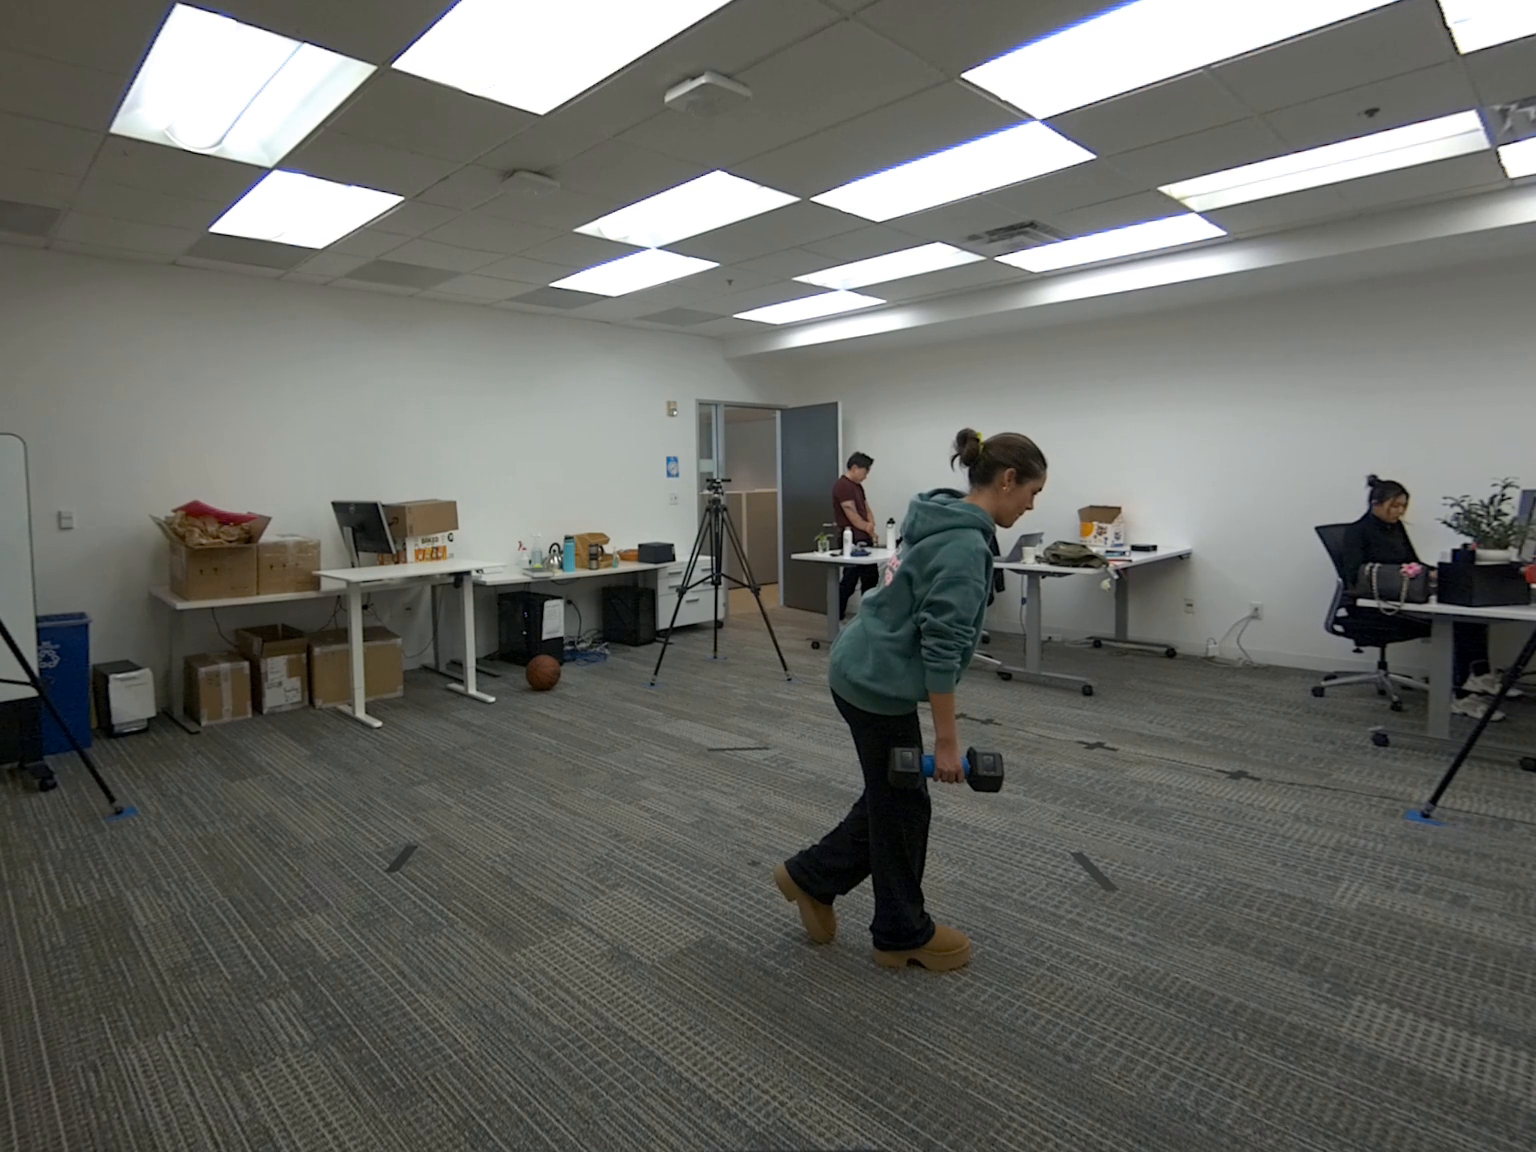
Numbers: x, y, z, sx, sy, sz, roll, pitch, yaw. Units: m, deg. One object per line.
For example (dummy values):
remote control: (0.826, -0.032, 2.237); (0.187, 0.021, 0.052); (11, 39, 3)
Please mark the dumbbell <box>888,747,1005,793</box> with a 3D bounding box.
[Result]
dumbbell: (0.471, 0.507, 2.269); (0.294, 0.120, 0.111); (0, 30, 1)
